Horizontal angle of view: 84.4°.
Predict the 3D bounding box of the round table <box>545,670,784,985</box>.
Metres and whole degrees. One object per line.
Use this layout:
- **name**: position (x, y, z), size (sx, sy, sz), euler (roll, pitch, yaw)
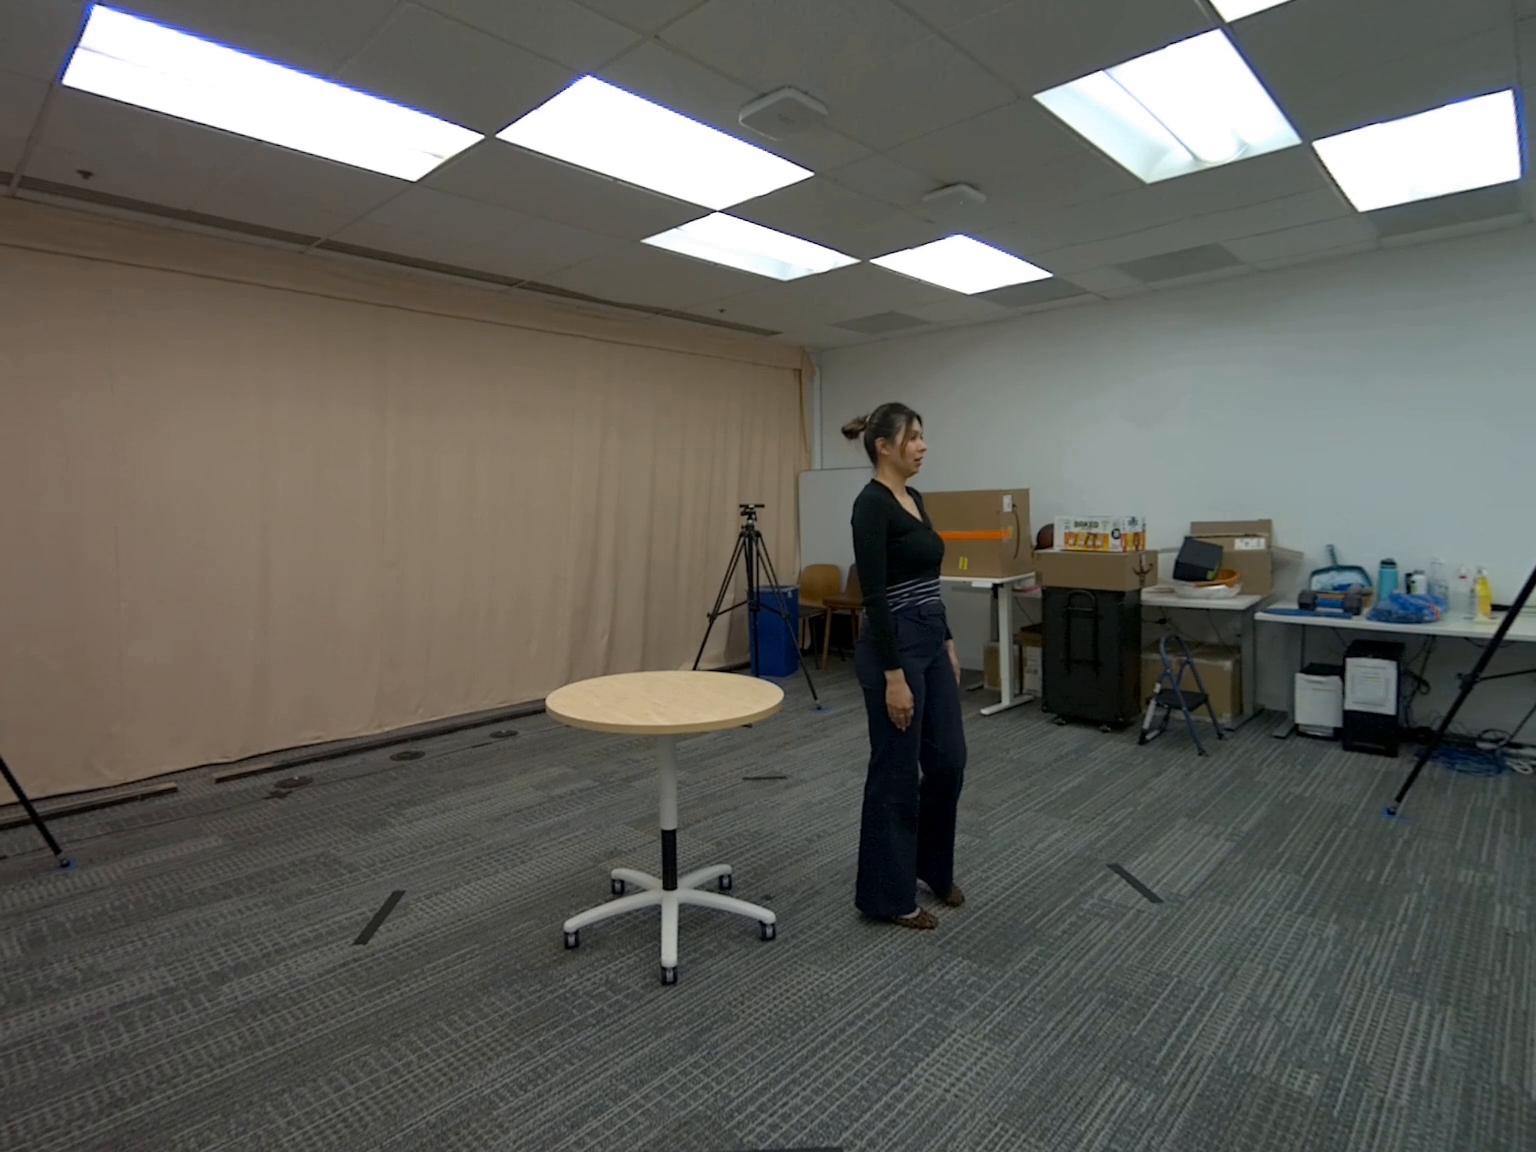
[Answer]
- **round table**: position (-0.321, 0.781, 2.752), size (0.763, 0.792, 0.766), euler (-1, 4, -2)
